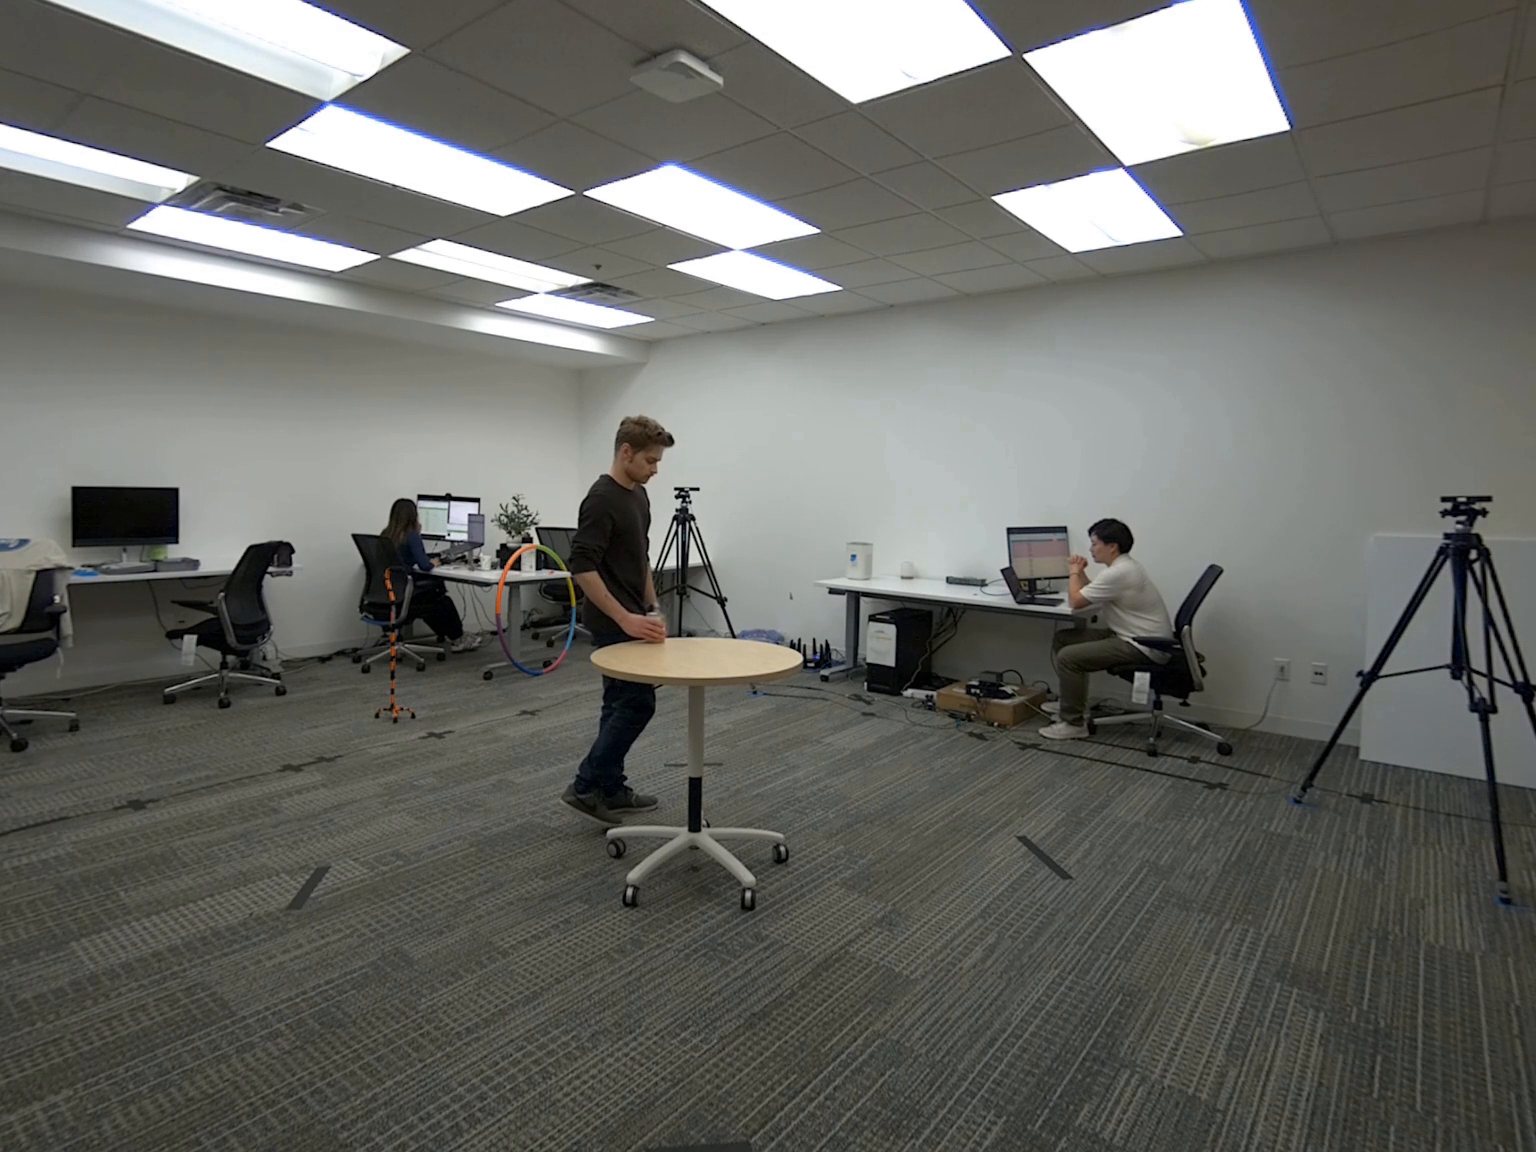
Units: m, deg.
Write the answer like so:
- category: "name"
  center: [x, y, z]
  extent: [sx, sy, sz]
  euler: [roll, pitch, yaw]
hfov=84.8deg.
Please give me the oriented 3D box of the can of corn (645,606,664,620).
- category: "can of corn"
  center: [-0.459, 0.209, 3.326]
  extent: [0.074, 0.110, 0.075]
  euler: [-5, 6, -1]
